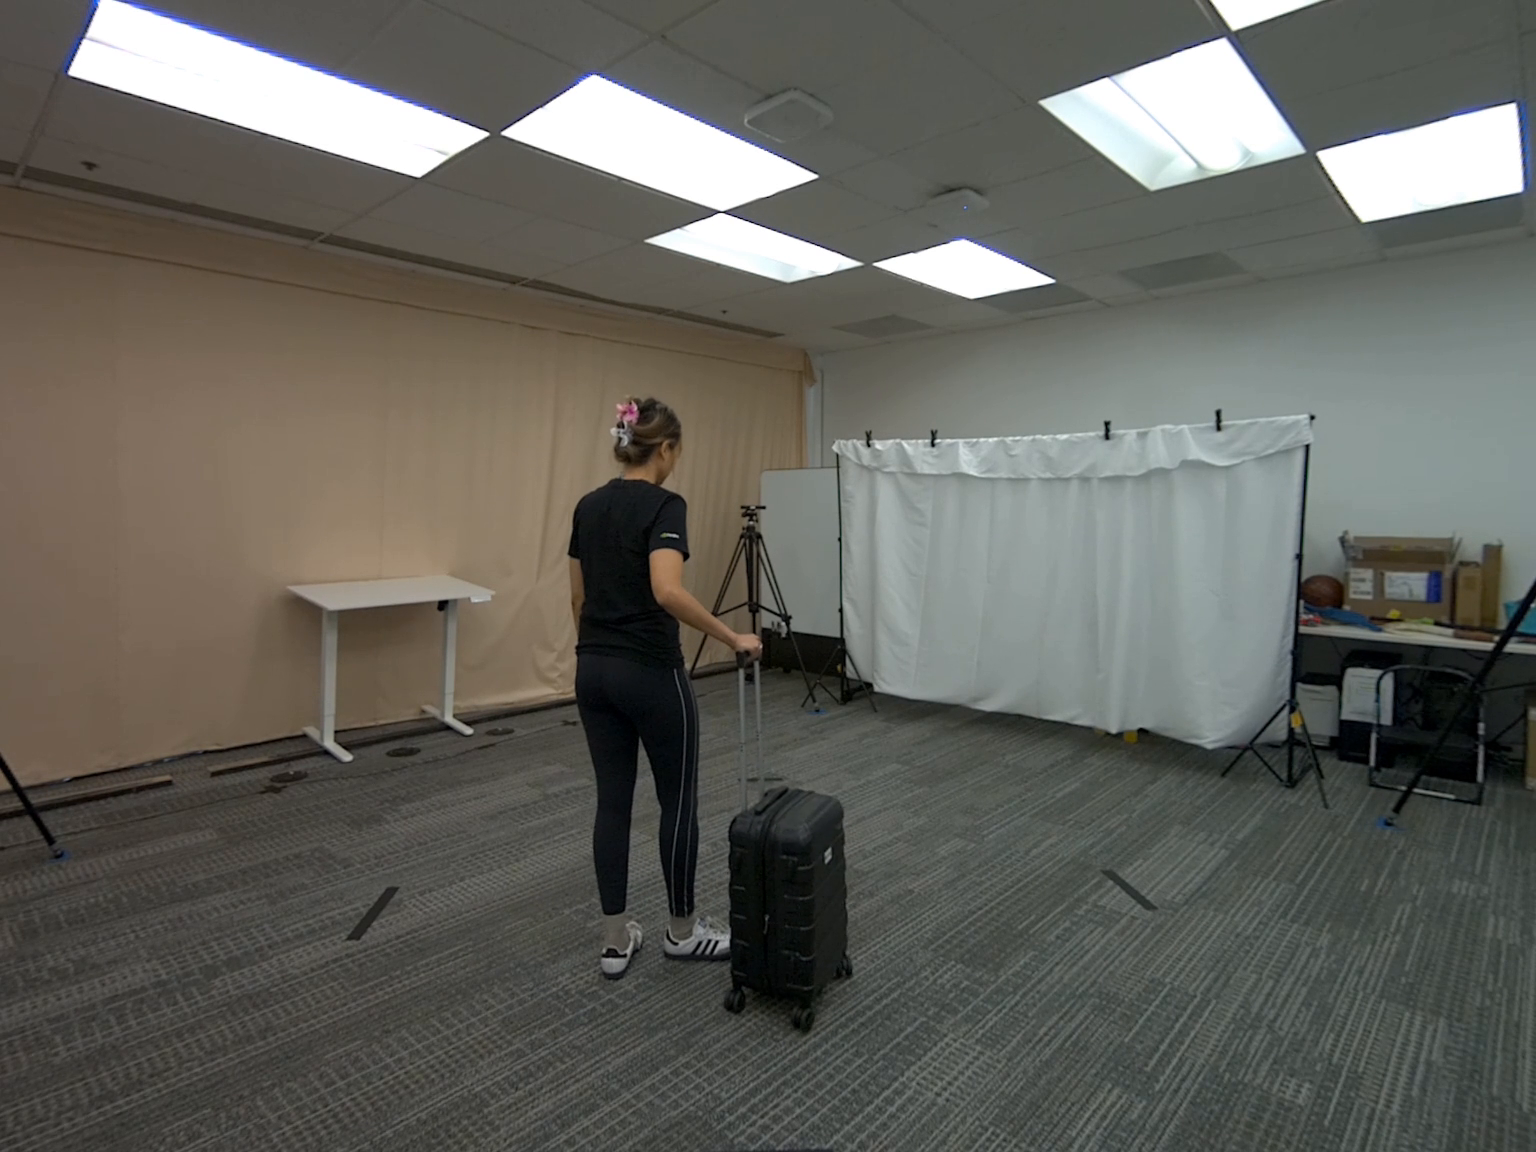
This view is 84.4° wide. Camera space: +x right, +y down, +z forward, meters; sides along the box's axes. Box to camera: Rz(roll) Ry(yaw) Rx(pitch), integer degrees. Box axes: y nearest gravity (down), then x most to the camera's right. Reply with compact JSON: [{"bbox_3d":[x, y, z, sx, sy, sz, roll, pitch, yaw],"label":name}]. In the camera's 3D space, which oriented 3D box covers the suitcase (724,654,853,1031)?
[{"bbox_3d":[0.071,0.720,2.406,0.263,0.978,0.375,2,1,24],"label":"suitcase"}]
